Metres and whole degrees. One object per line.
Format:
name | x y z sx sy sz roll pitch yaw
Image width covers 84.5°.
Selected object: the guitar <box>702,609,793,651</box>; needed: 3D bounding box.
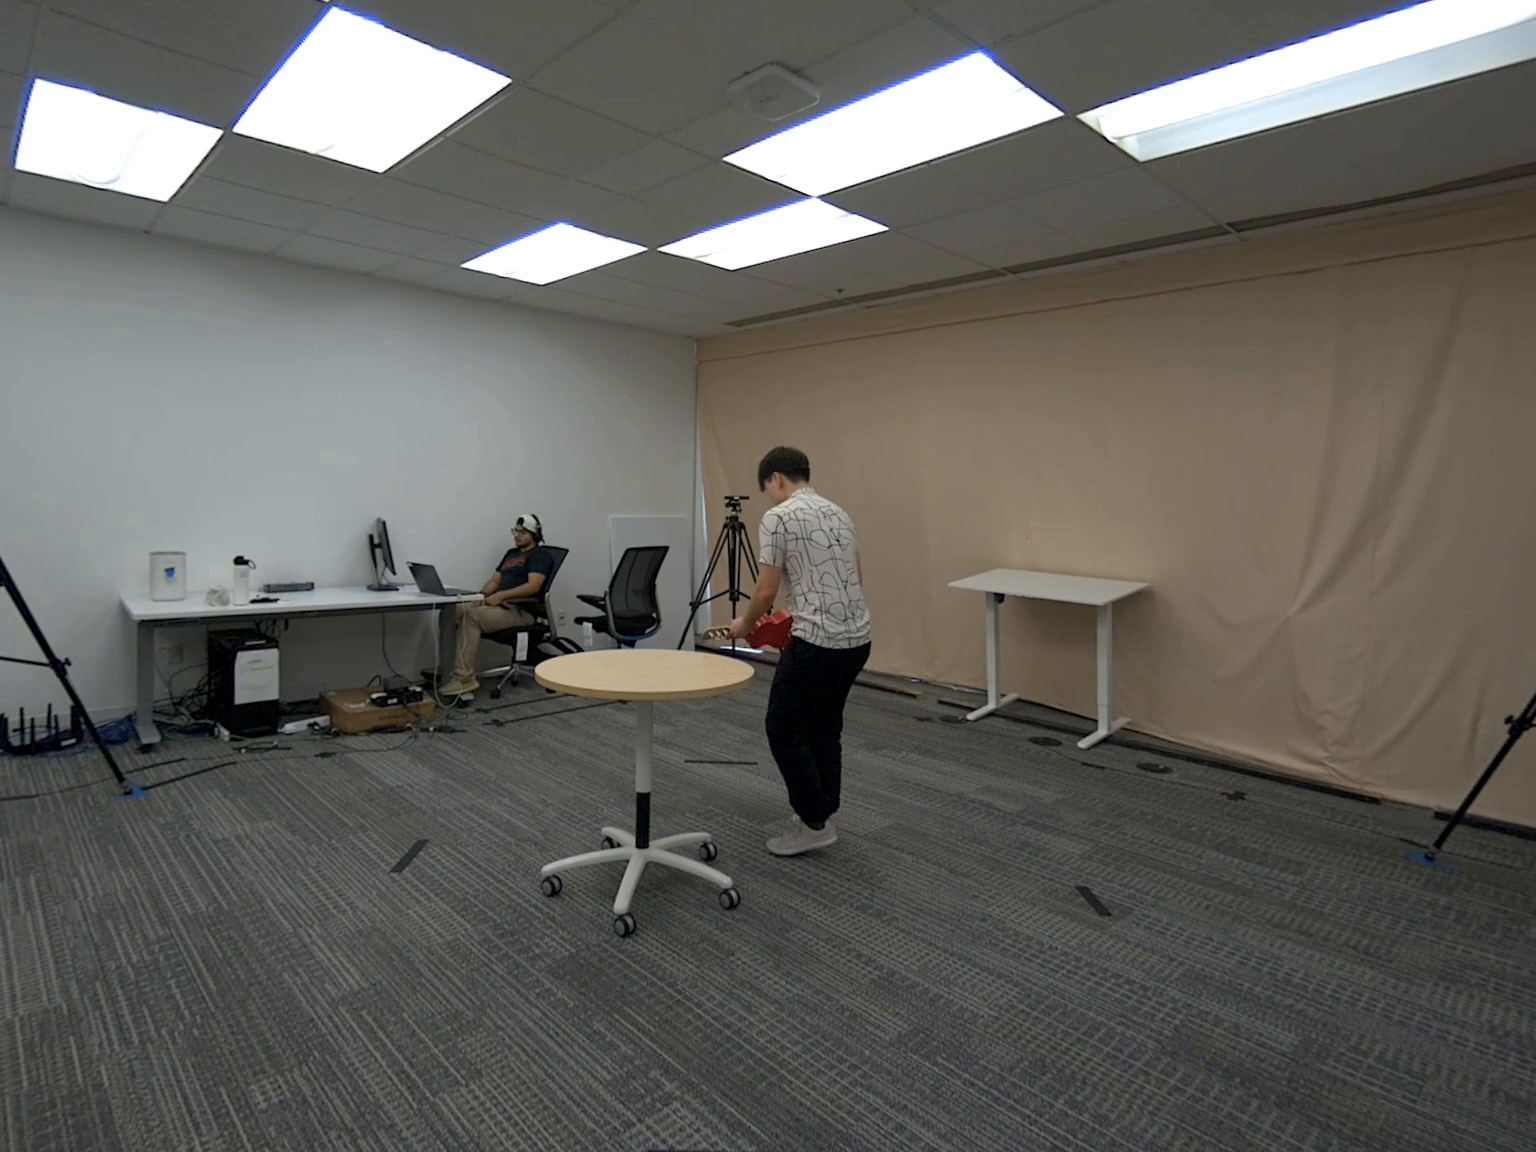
guitar | -0.084 0.258 3.606 0.489 0.190 0.073 -12 43 -32
